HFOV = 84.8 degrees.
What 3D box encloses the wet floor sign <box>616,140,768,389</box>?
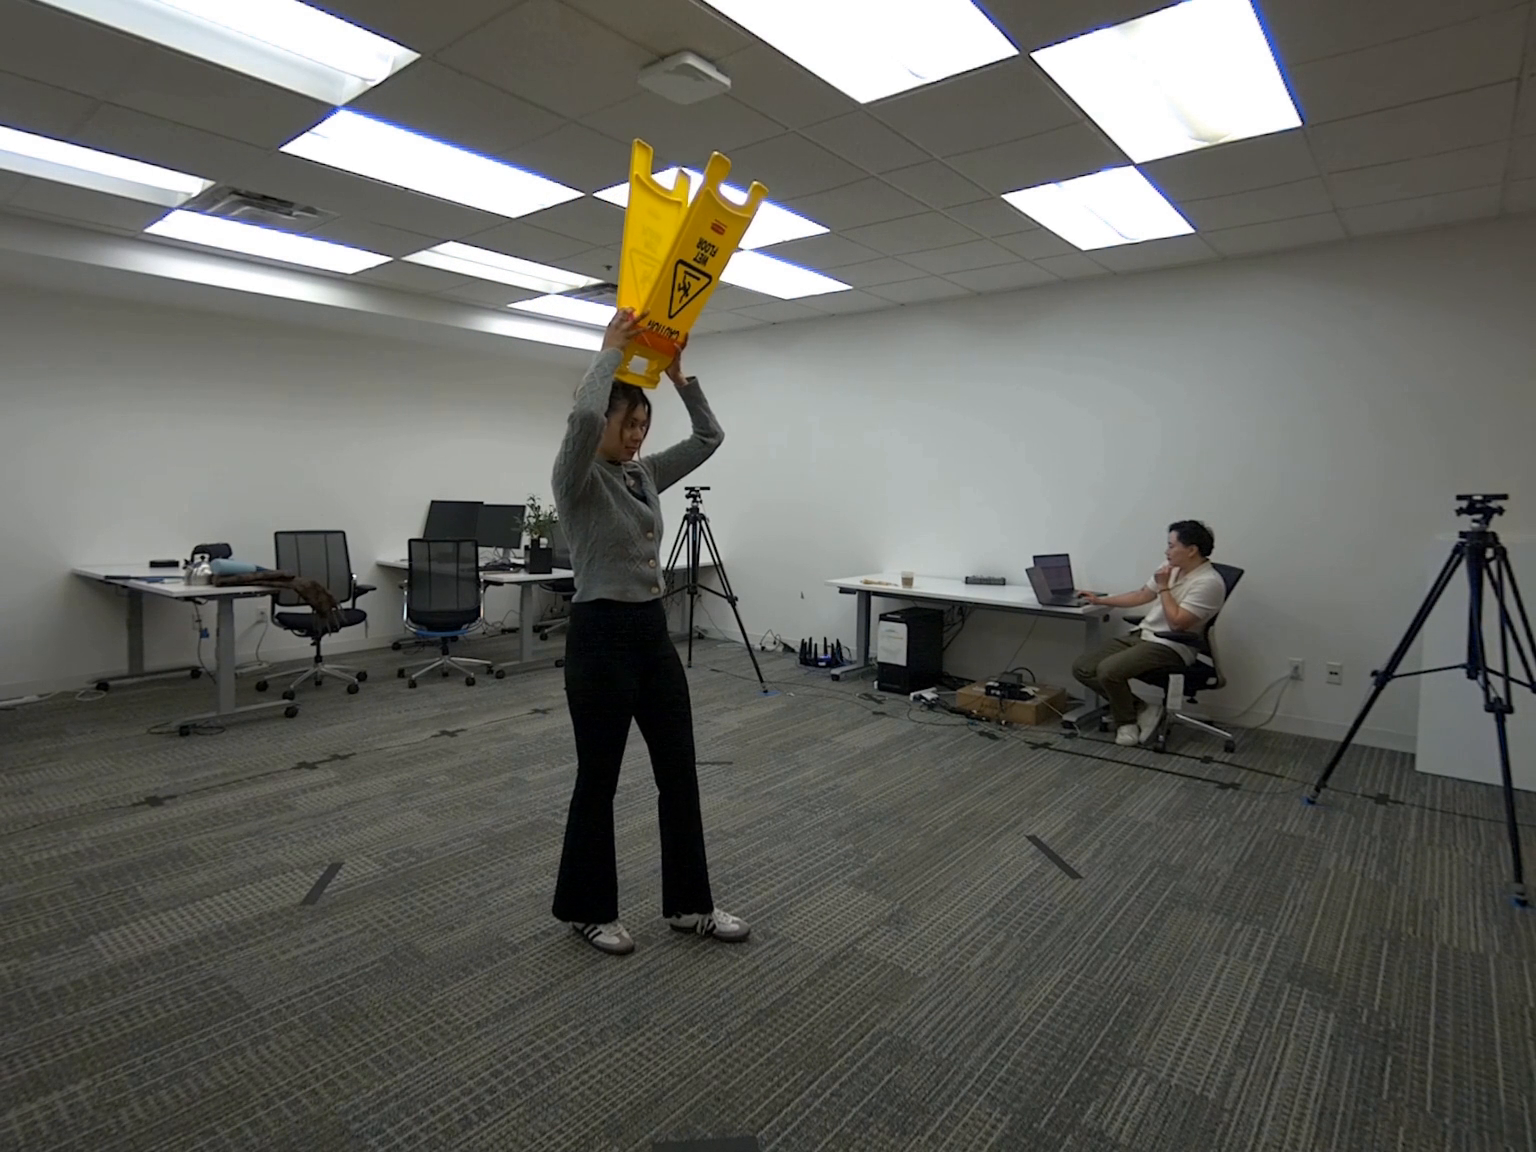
[{"bbox_3d":[-0.299,-0.860,2.447,0.300,0.642,0.274,27,12,30],"label":"wet floor sign"}]
